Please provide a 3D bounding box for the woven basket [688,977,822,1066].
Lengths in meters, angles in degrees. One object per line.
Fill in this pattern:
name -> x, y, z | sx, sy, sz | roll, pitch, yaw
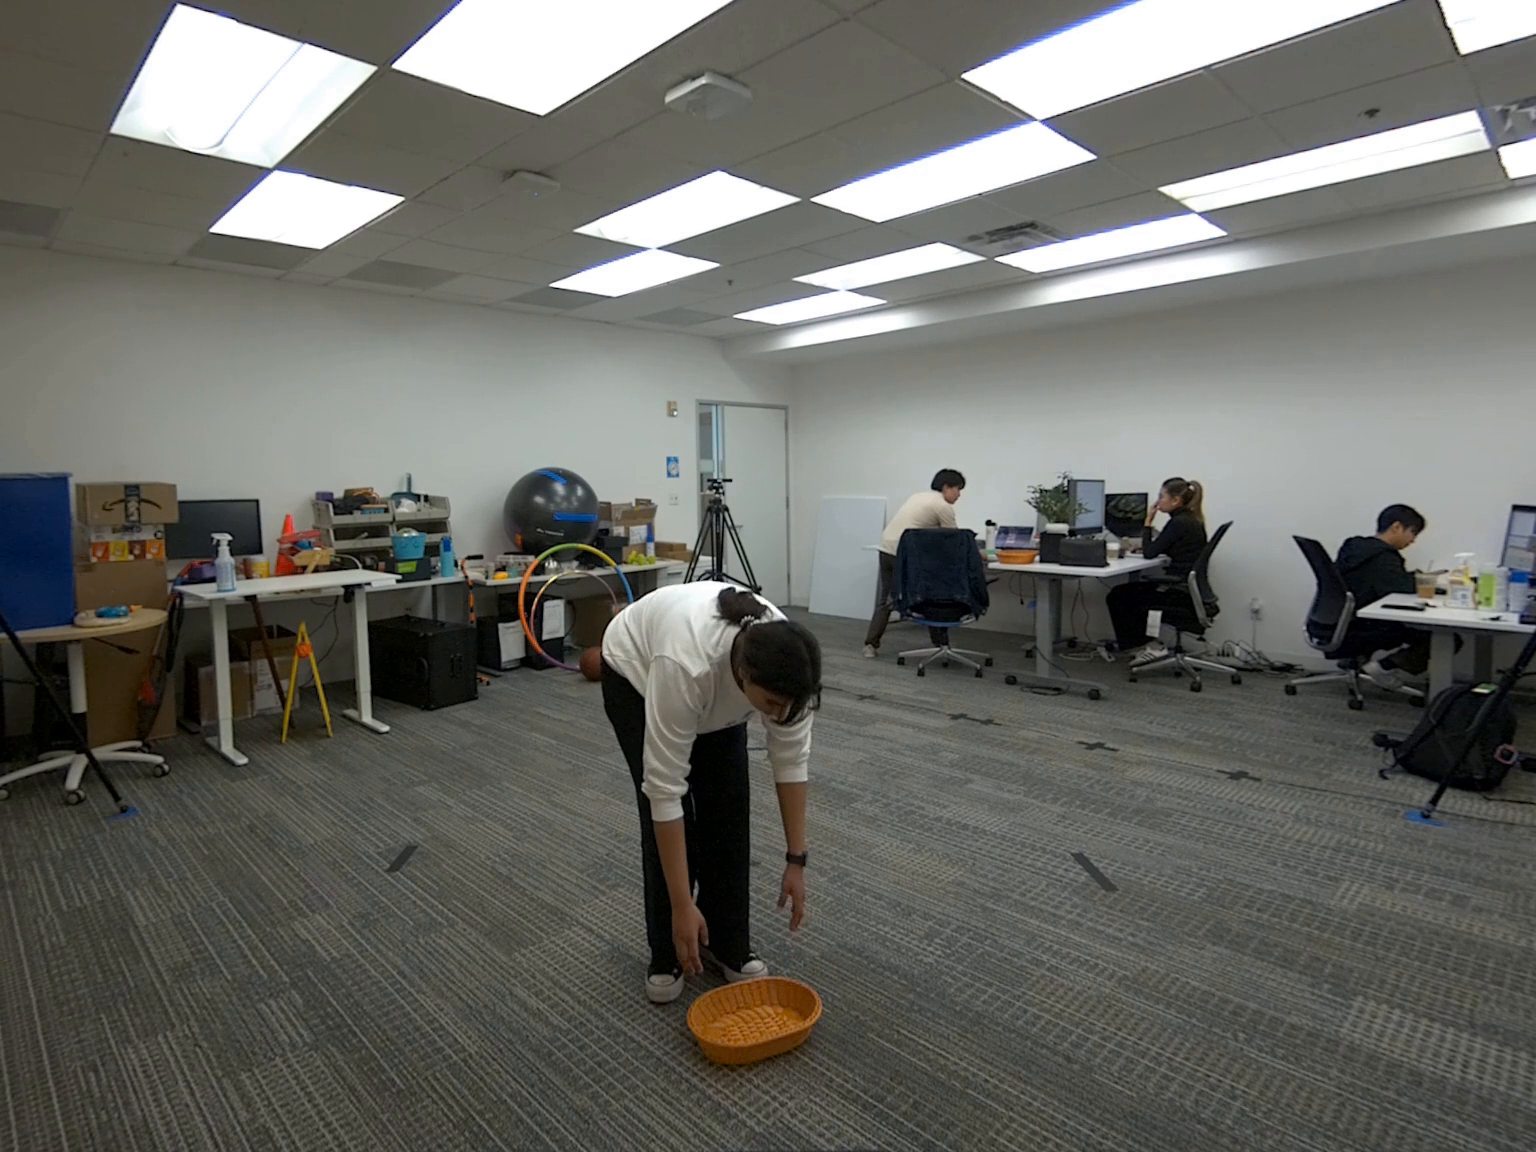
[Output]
woven basket -> -0.029, 1.122, 2.151 | 0.343, 0.073, 0.259 | -5, 6, -26
